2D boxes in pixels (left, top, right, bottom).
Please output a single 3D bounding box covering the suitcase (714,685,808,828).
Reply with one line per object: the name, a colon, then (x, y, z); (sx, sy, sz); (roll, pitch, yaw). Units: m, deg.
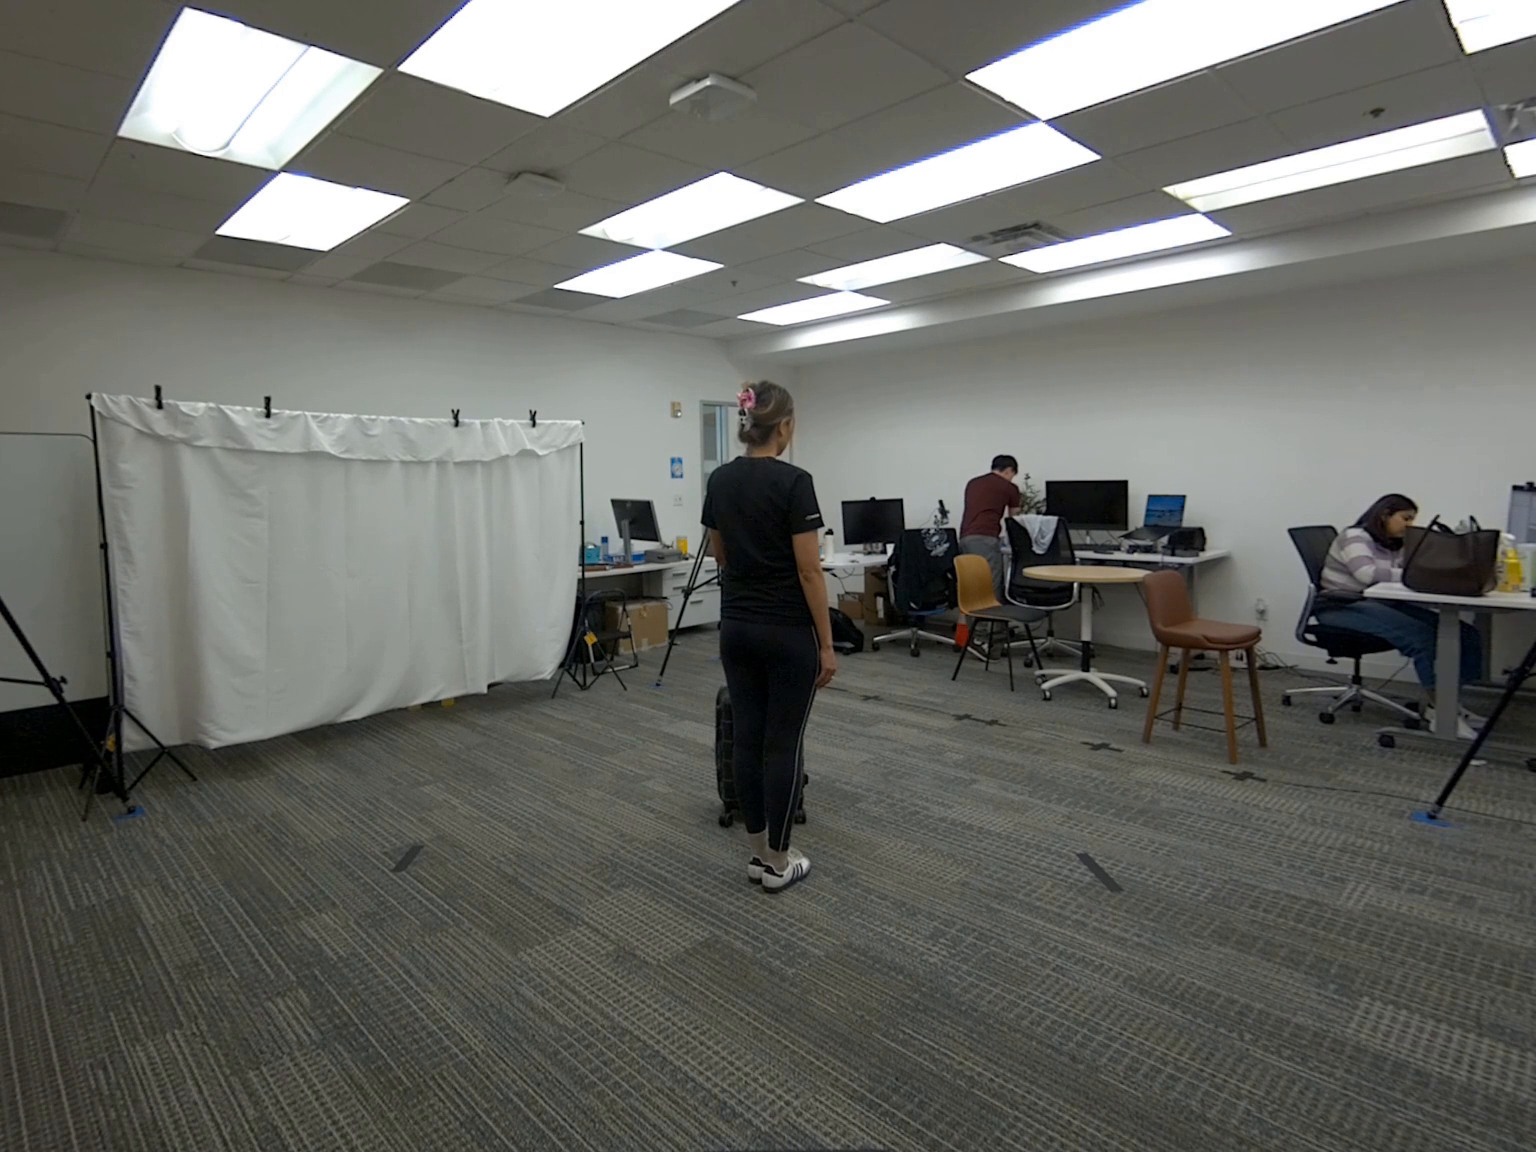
suitcase: (-0.035, 0.522, 3.569); (0.383, 0.979, 0.258); (-1, -1, -4)
